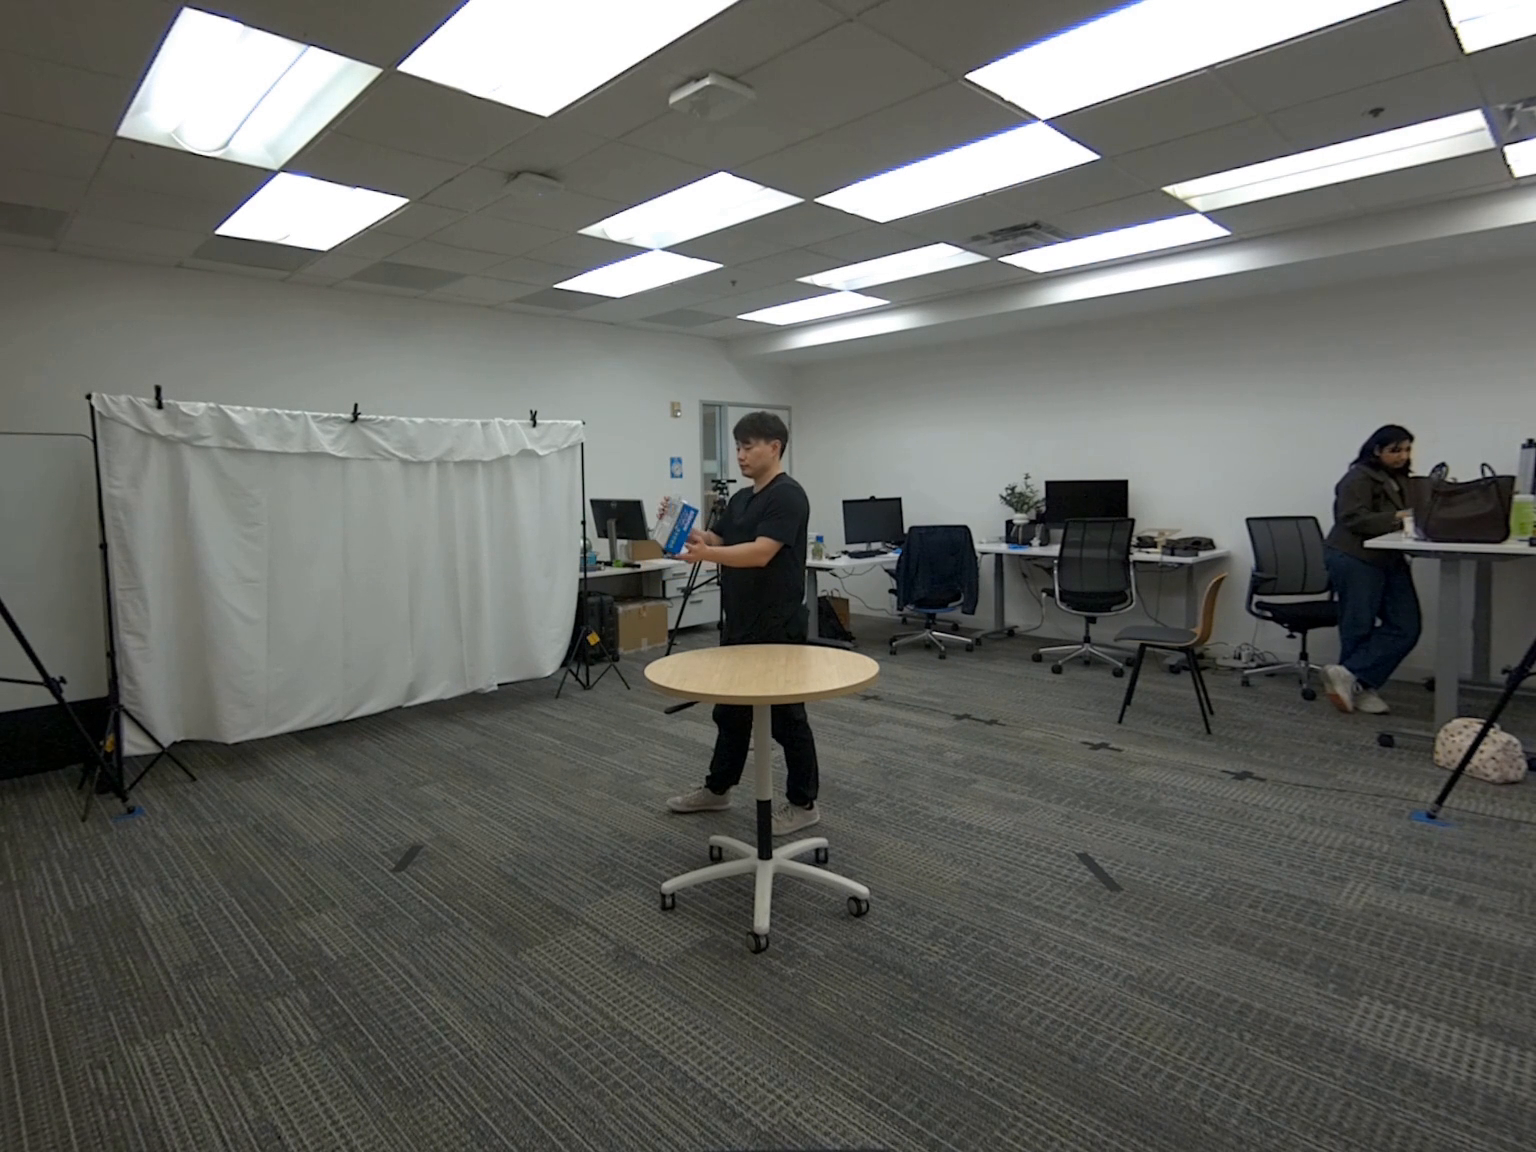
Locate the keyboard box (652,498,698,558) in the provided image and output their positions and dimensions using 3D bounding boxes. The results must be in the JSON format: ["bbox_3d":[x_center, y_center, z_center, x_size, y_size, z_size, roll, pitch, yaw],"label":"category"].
[{"bbox_3d":[-0.354,-0.186,3.151,0.058,0.176,0.444,22,3,-14],"label":"keyboard box"}]
